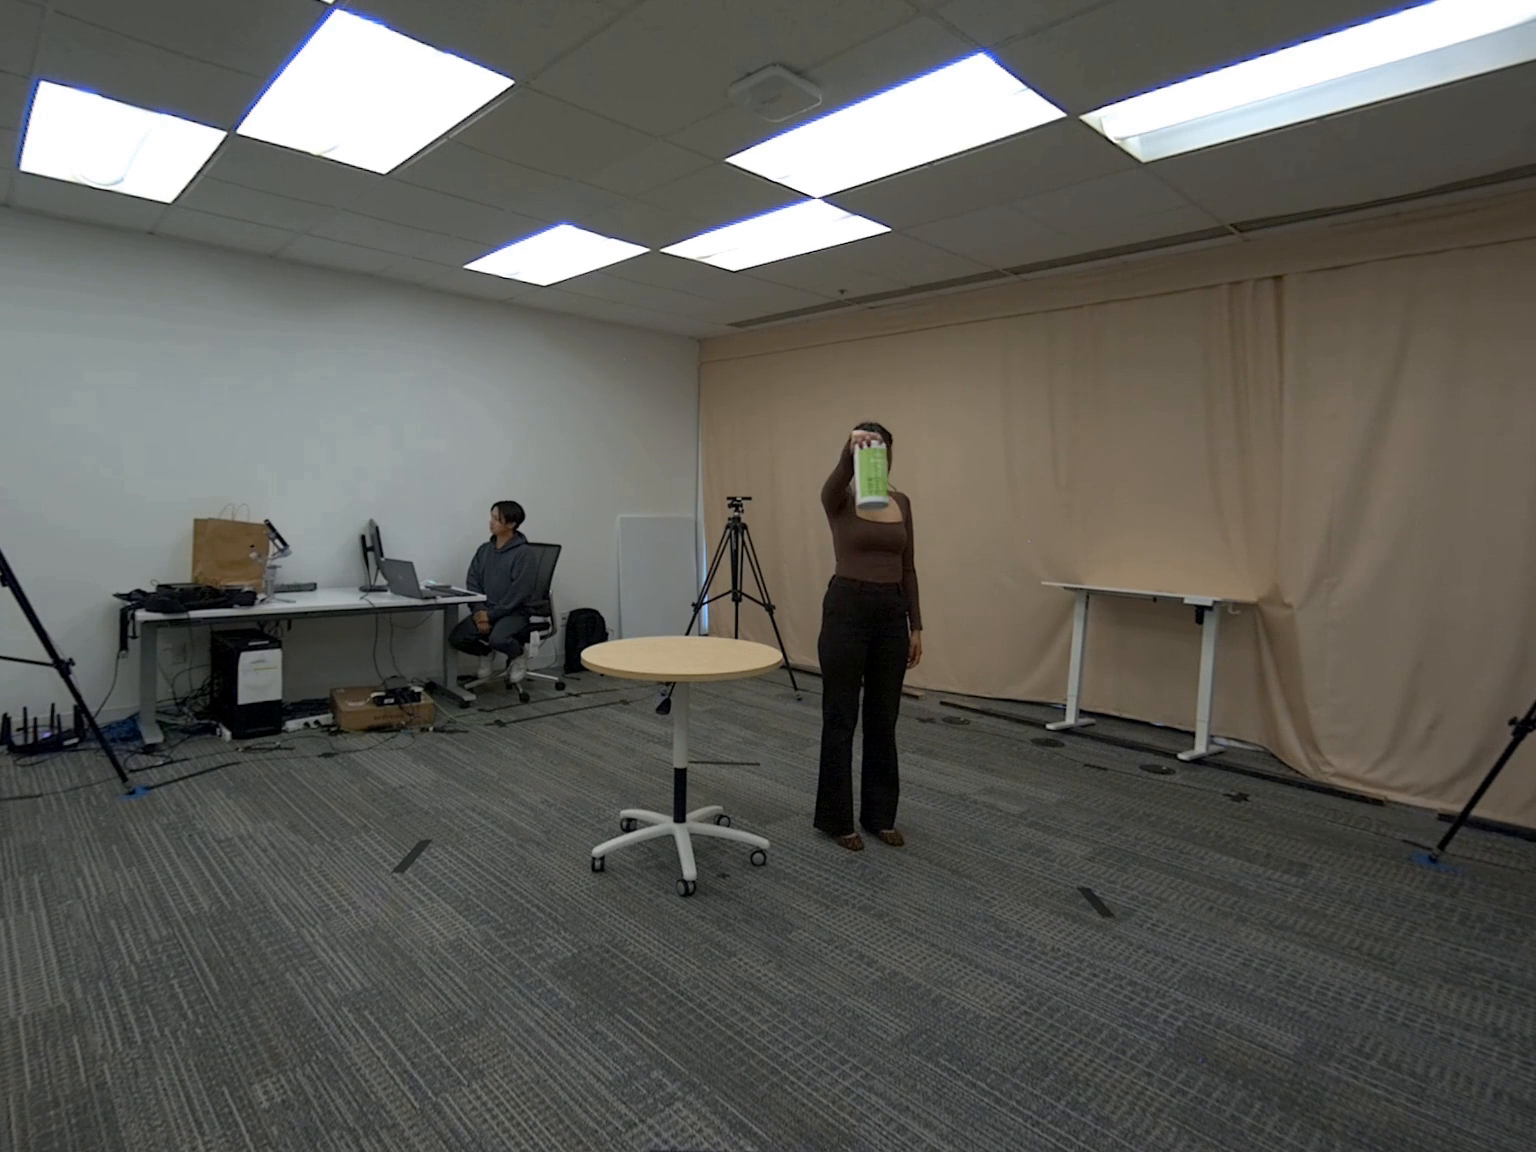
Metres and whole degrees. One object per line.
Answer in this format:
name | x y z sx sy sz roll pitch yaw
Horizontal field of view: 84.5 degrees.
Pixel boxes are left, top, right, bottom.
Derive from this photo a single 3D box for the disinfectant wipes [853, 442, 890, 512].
disinfectant wipes | 0.329 -0.328 2.824 0.117 0.219 0.117 -3 -9 -2
